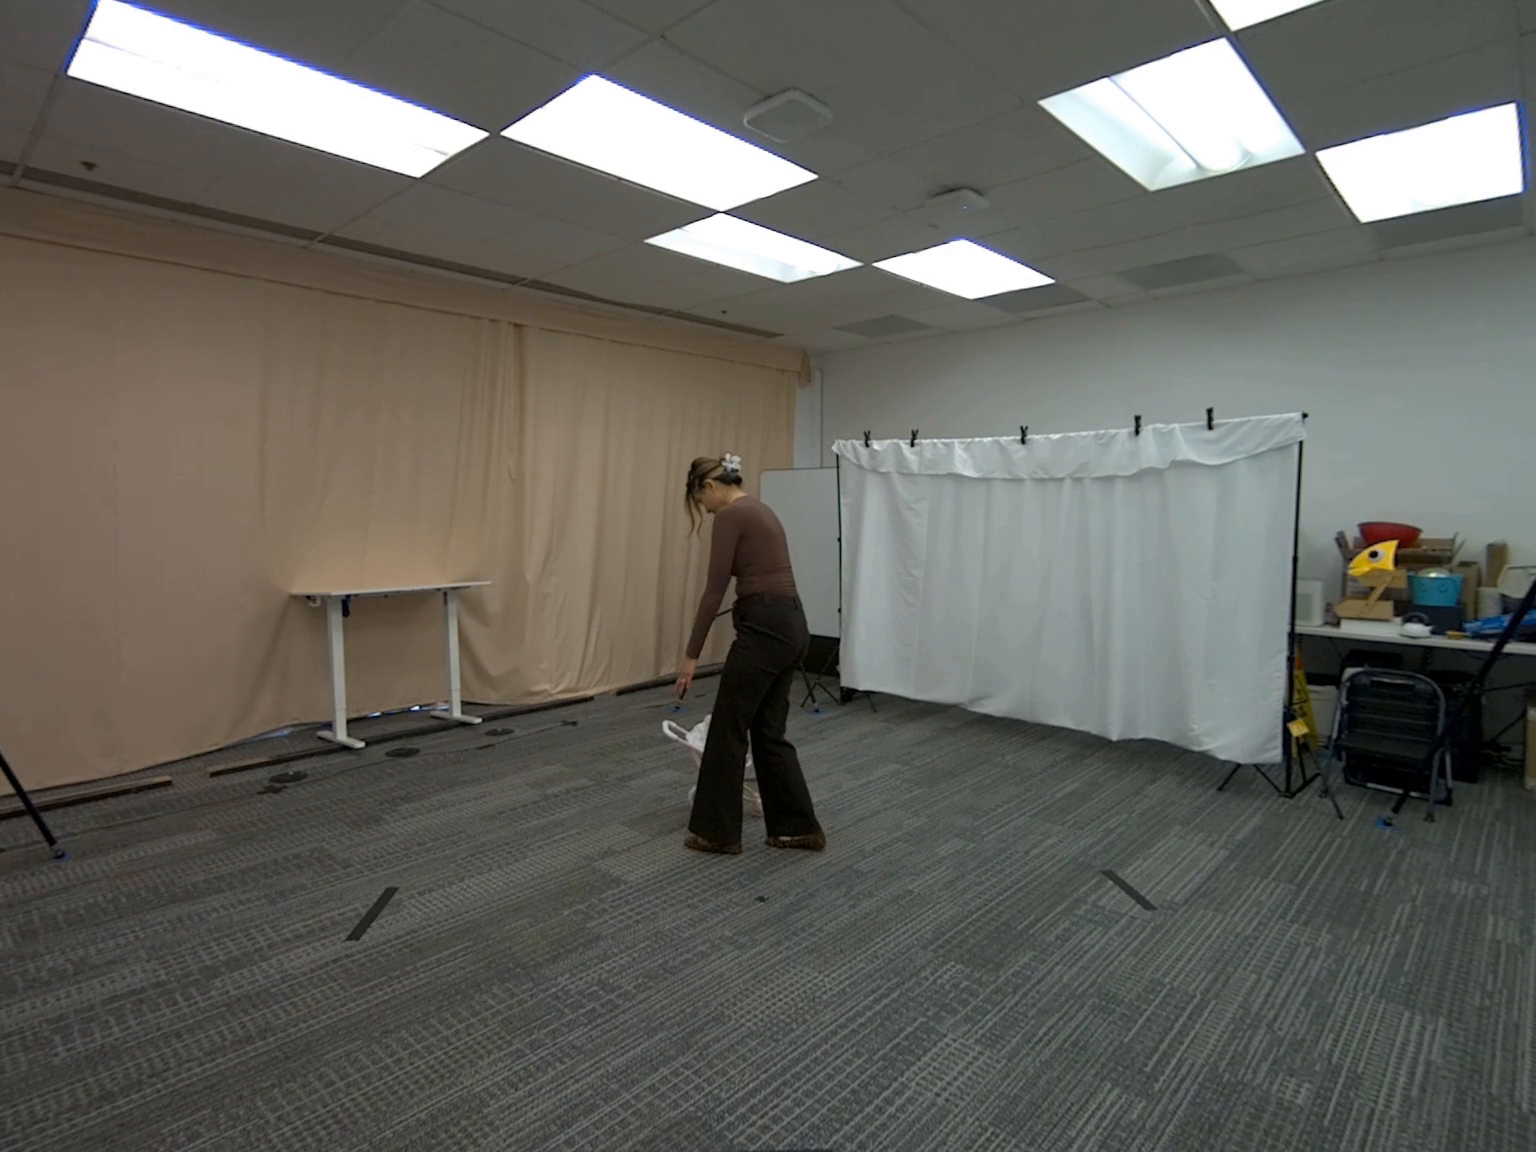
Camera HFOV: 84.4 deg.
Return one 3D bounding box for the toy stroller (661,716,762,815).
[{"bbox_3d":[-0.229,0.856,3.755,0.341,0.533,0.283,-17,4,-1],"label":"toy stroller"}]
